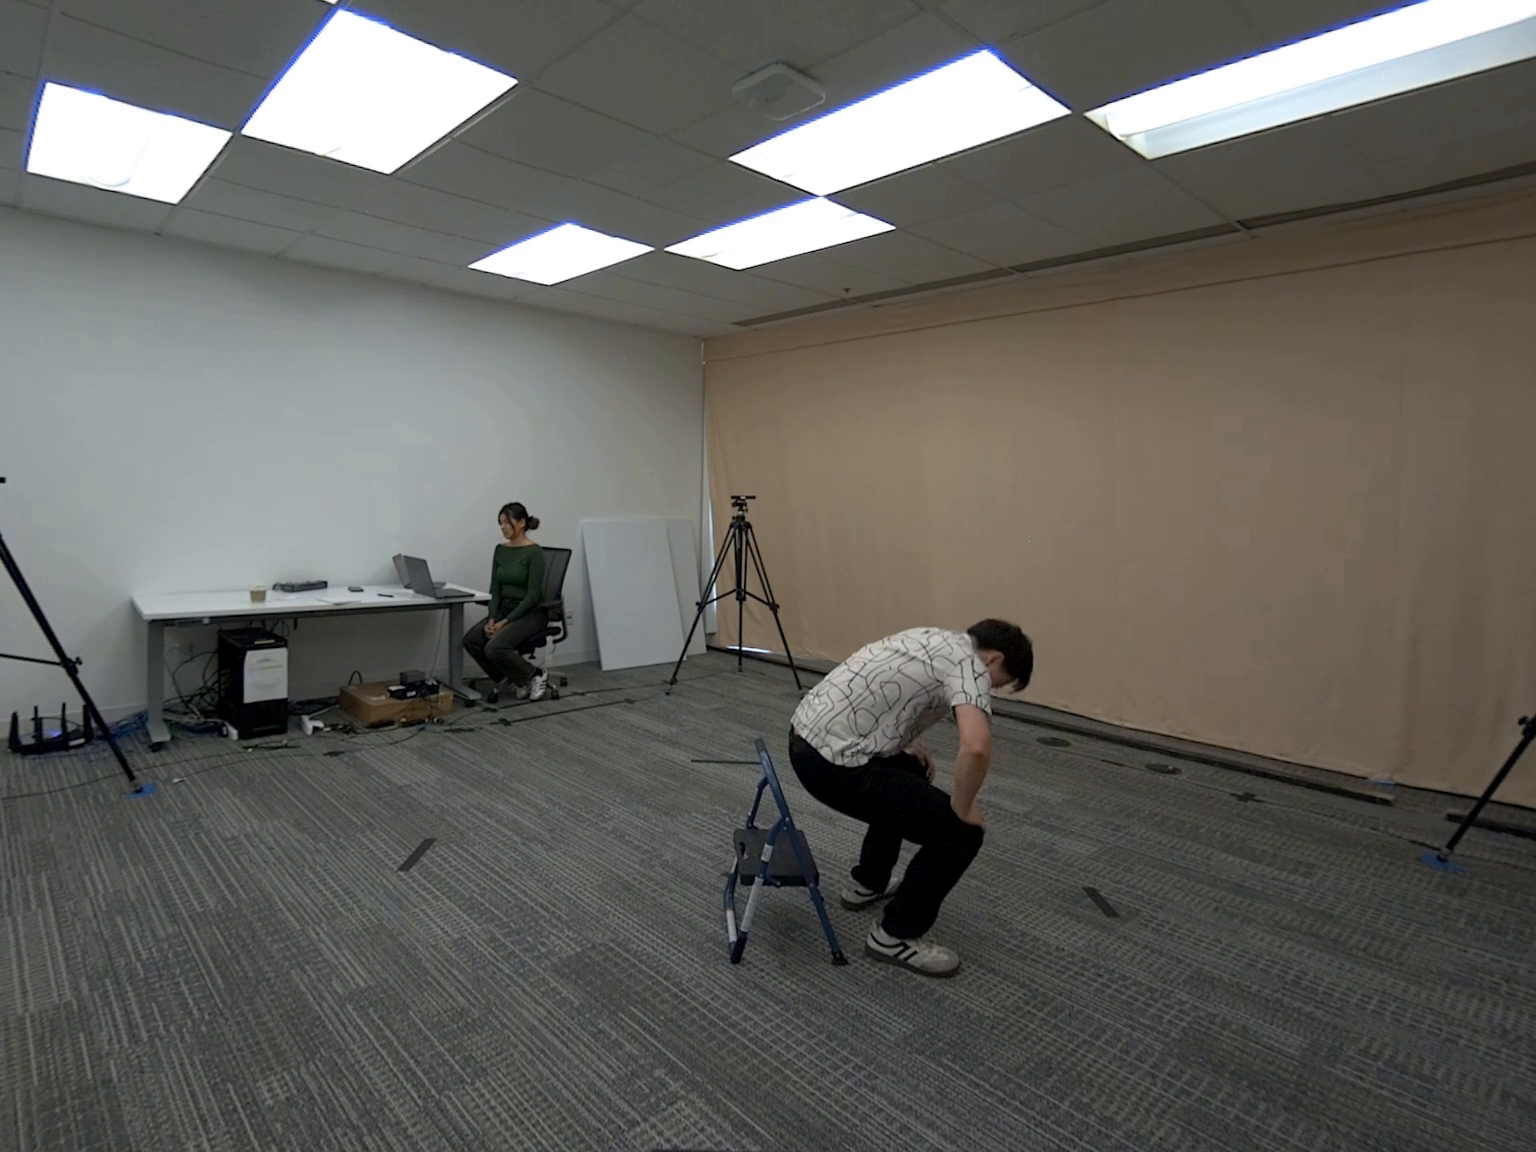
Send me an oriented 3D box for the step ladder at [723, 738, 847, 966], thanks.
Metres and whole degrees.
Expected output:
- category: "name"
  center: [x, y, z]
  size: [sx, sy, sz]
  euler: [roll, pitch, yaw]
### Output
- category: "step ladder"
  center: [0.029, 0.848, 2.706]
  size: [0.347, 0.604, 0.434]
  euler: [0, 4, -7]
